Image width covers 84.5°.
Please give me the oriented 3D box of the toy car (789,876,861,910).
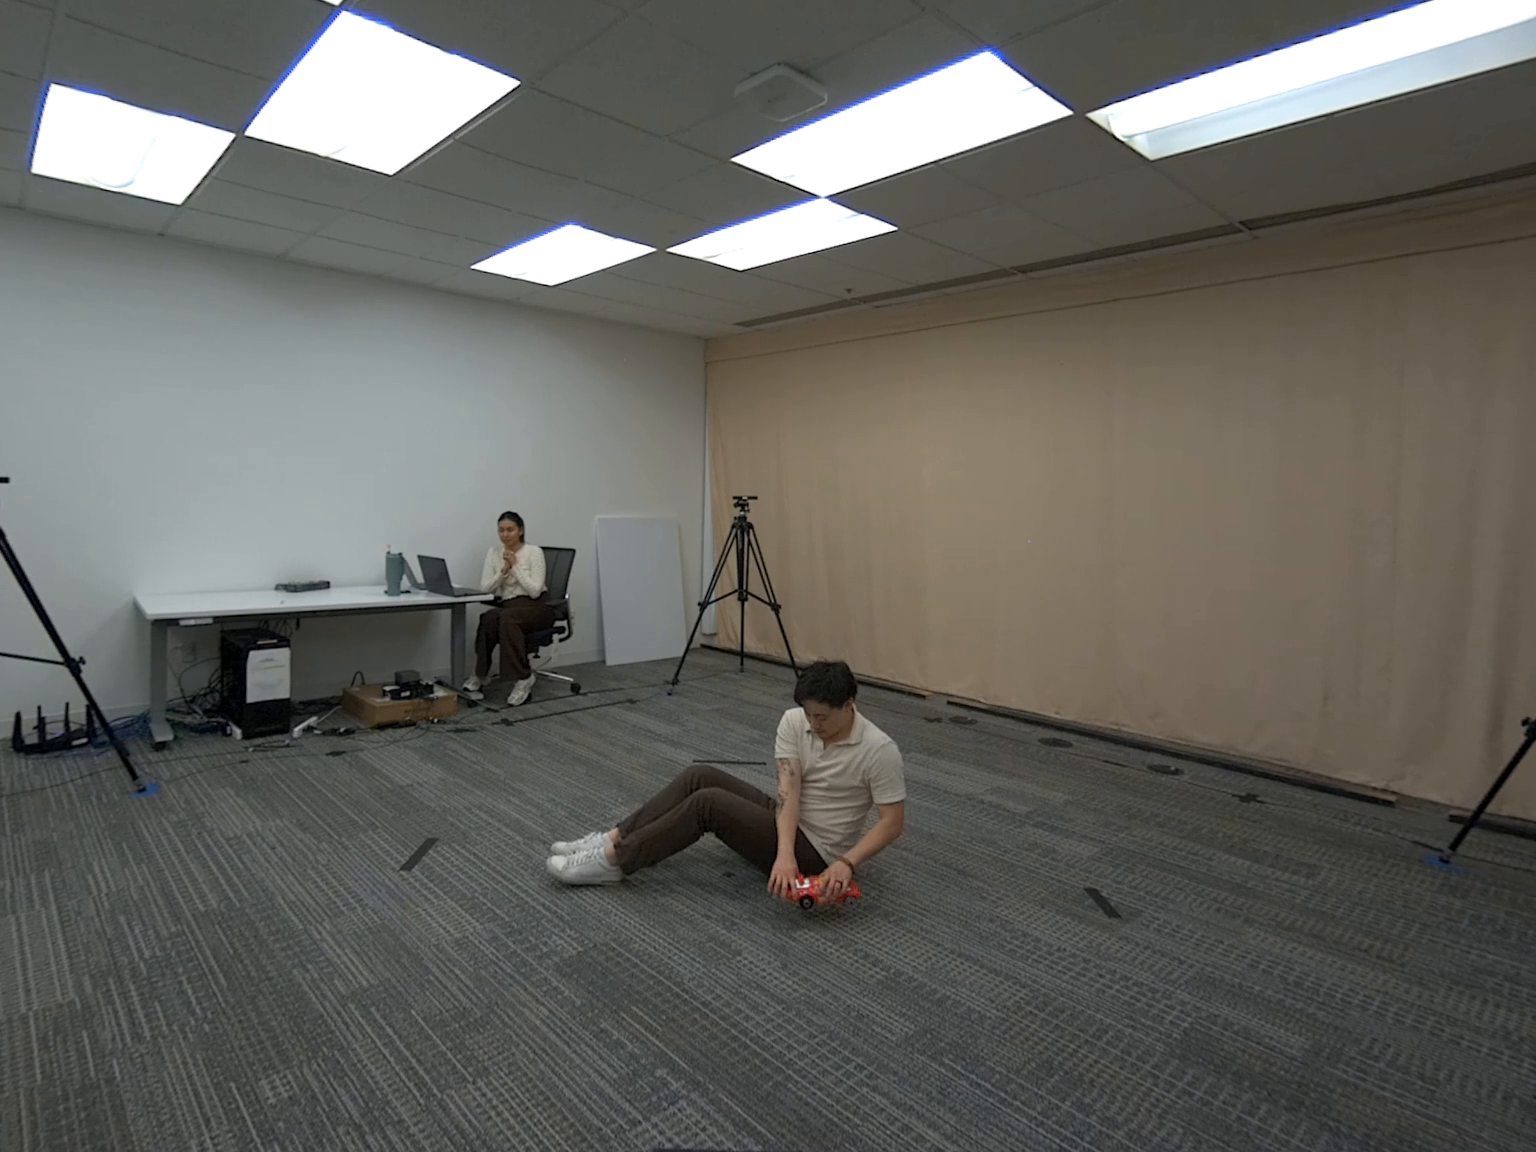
[{"bbox_3d":[0.150,1.043,2.794,0.253,0.083,0.131,11,4,-5],"label":"toy car"}]
